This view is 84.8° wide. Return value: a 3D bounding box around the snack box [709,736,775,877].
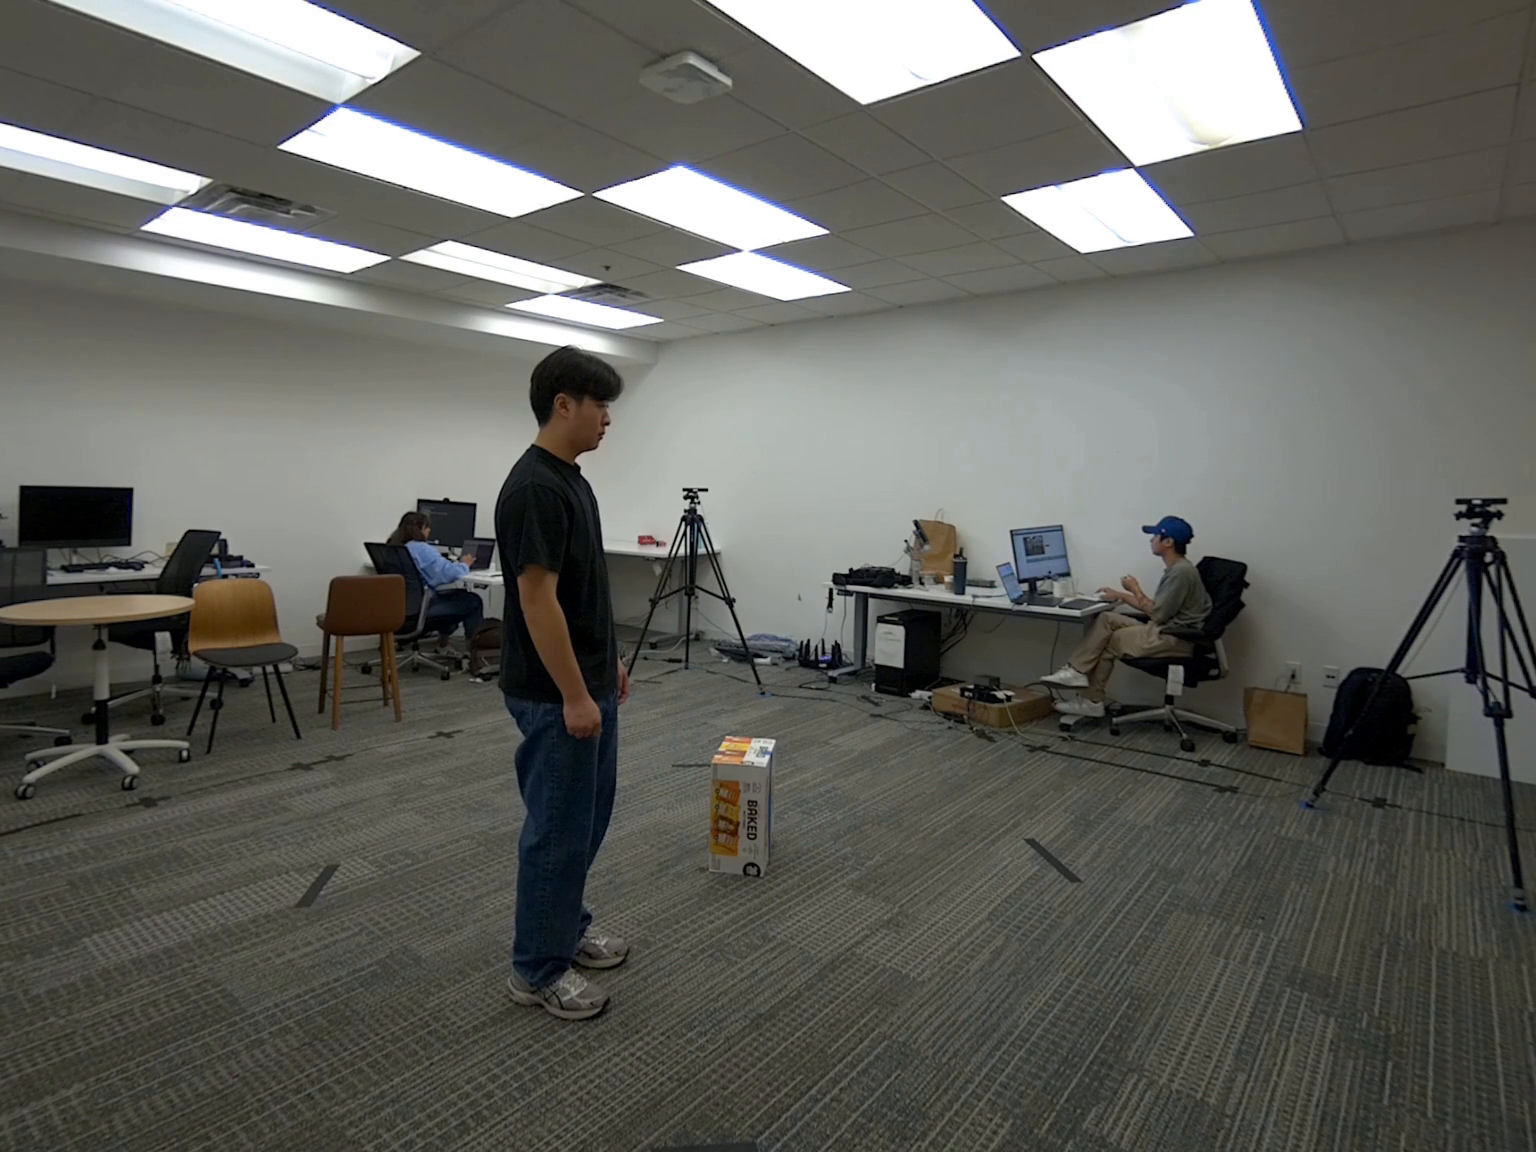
[{"bbox_3d":[-0.103,0.855,3.226,0.208,0.404,0.338,2,4,8],"label":"snack box"}]
